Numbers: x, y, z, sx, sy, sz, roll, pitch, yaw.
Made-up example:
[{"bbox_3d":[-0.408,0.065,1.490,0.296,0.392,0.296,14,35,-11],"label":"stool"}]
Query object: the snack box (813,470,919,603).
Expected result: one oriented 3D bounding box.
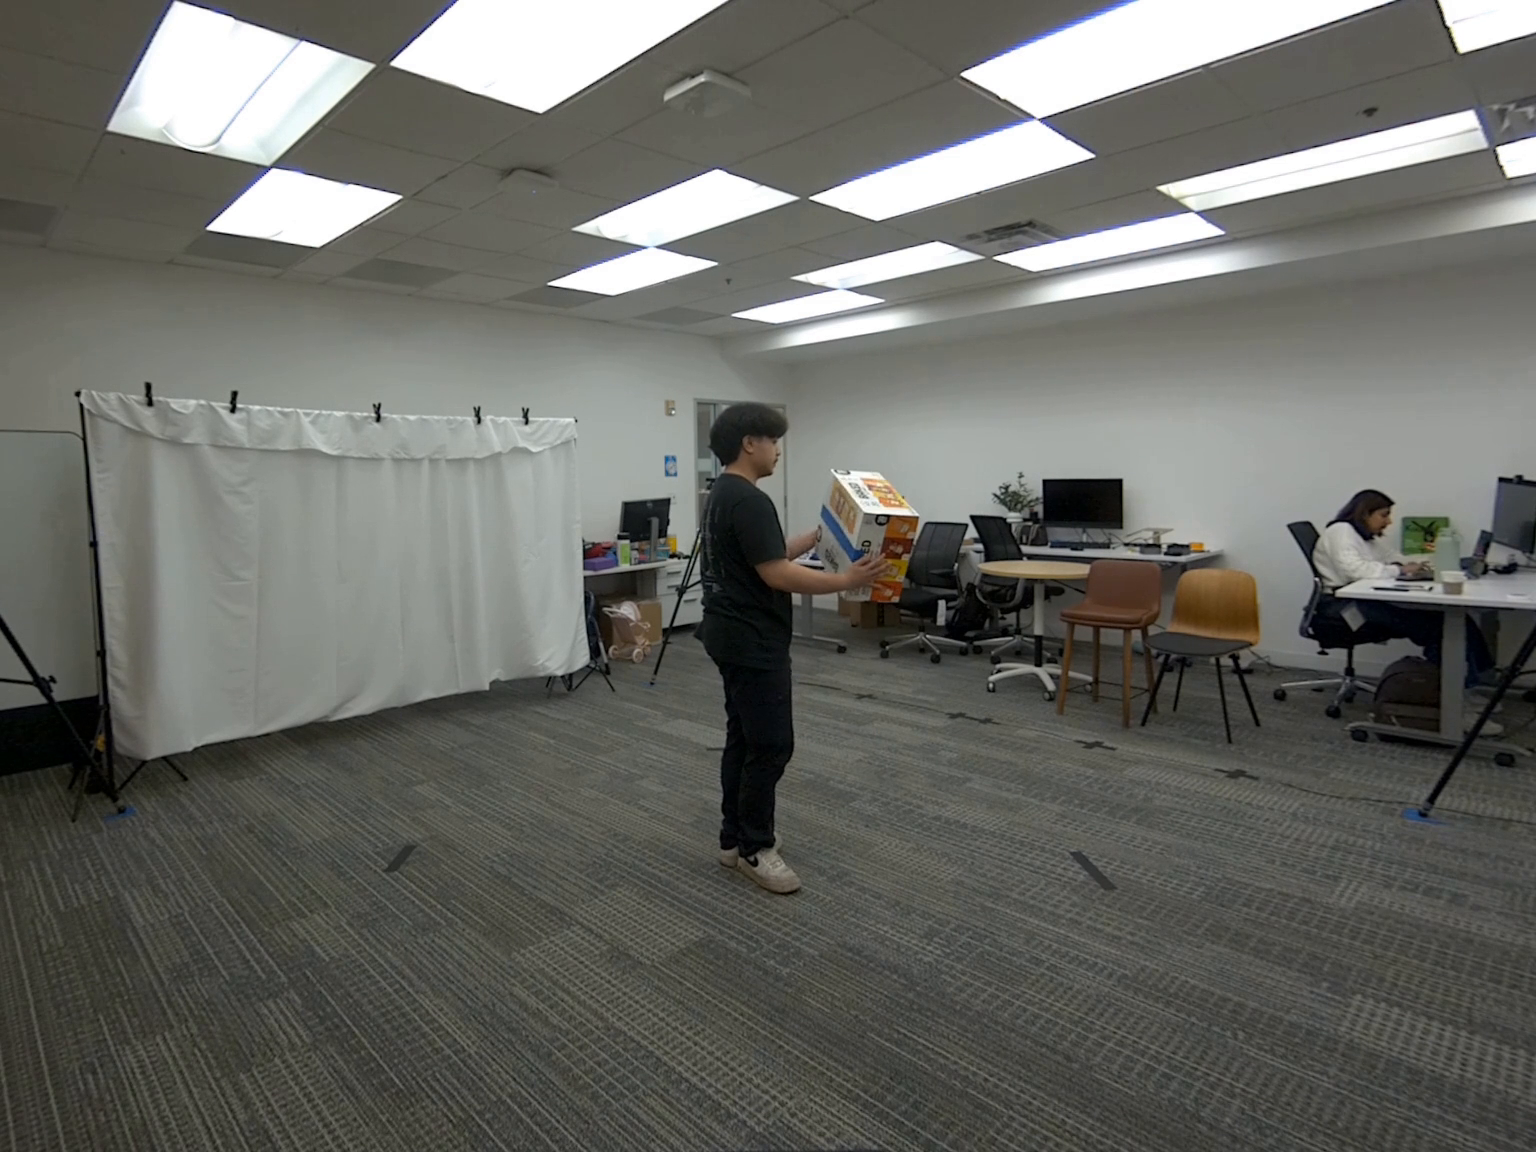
[{"bbox_3d":[0.352,-0.153,3.109,0.203,0.334,0.417,3,26,-14],"label":"snack box"}]
